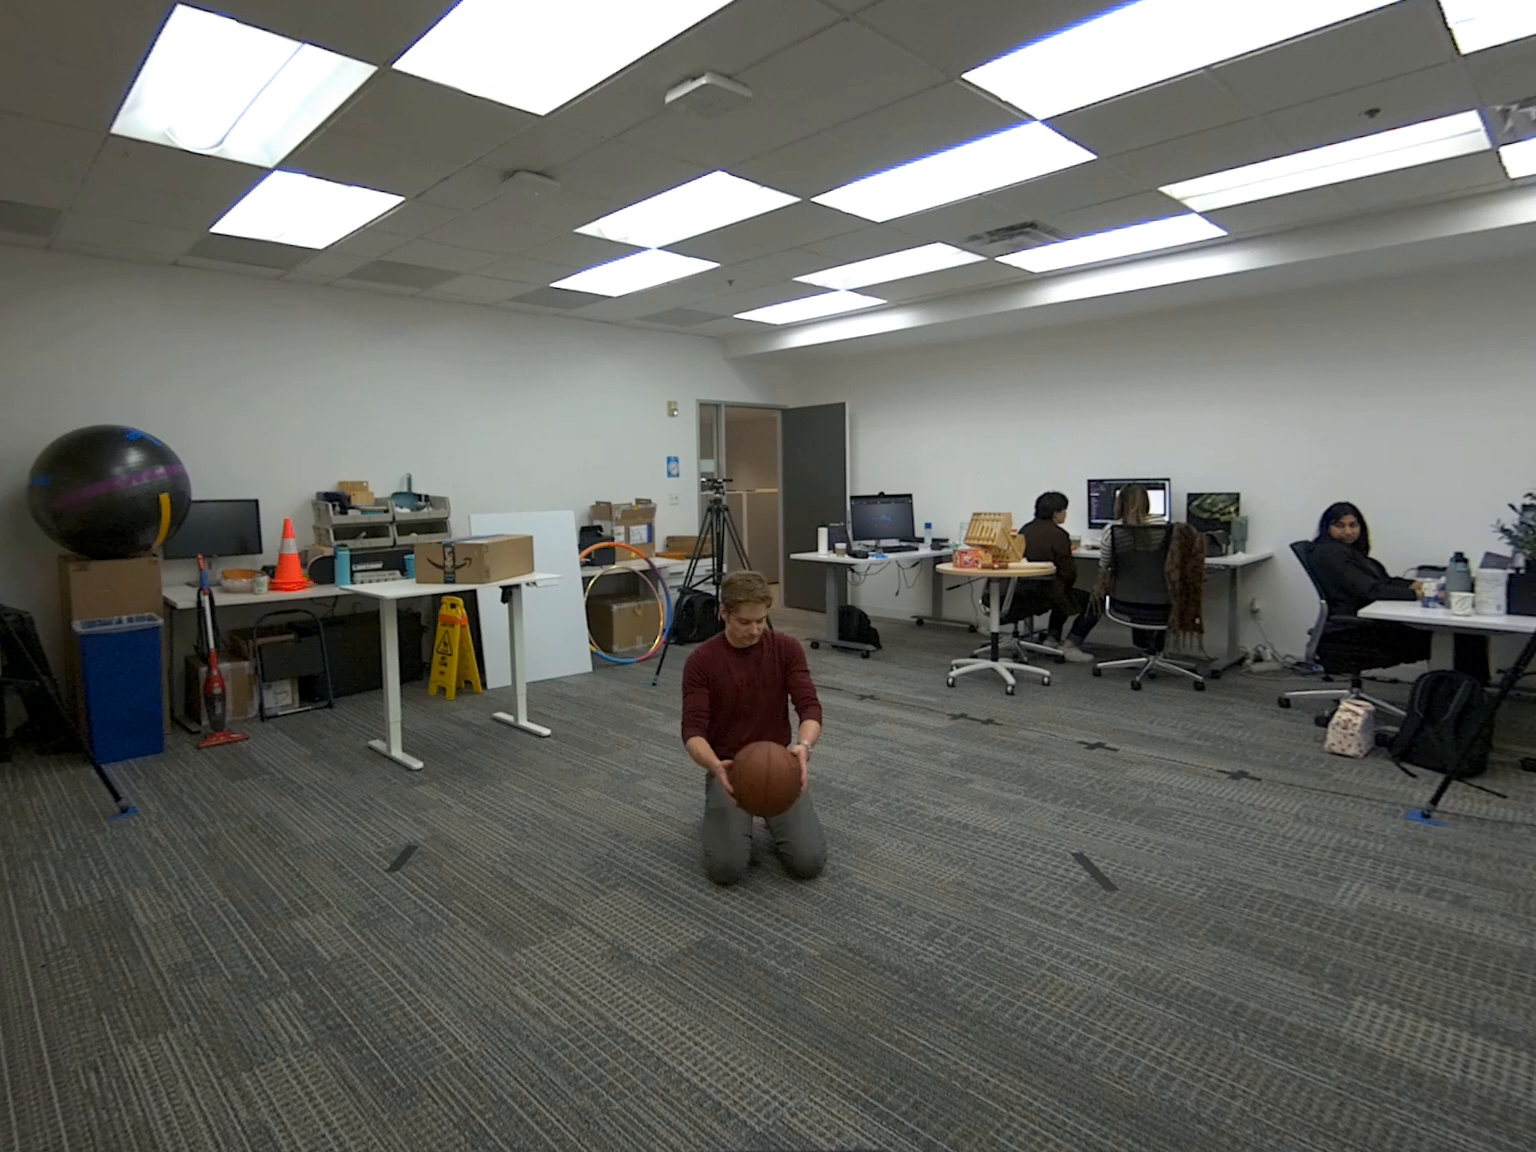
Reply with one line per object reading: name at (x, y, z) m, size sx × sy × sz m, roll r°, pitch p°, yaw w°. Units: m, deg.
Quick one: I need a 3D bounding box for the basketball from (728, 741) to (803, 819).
basketball at (-0.010, 0.666, 2.795) m, size 0.236 × 0.235 × 0.237 m, roll -1°, pitch 5°, yaw -2°
